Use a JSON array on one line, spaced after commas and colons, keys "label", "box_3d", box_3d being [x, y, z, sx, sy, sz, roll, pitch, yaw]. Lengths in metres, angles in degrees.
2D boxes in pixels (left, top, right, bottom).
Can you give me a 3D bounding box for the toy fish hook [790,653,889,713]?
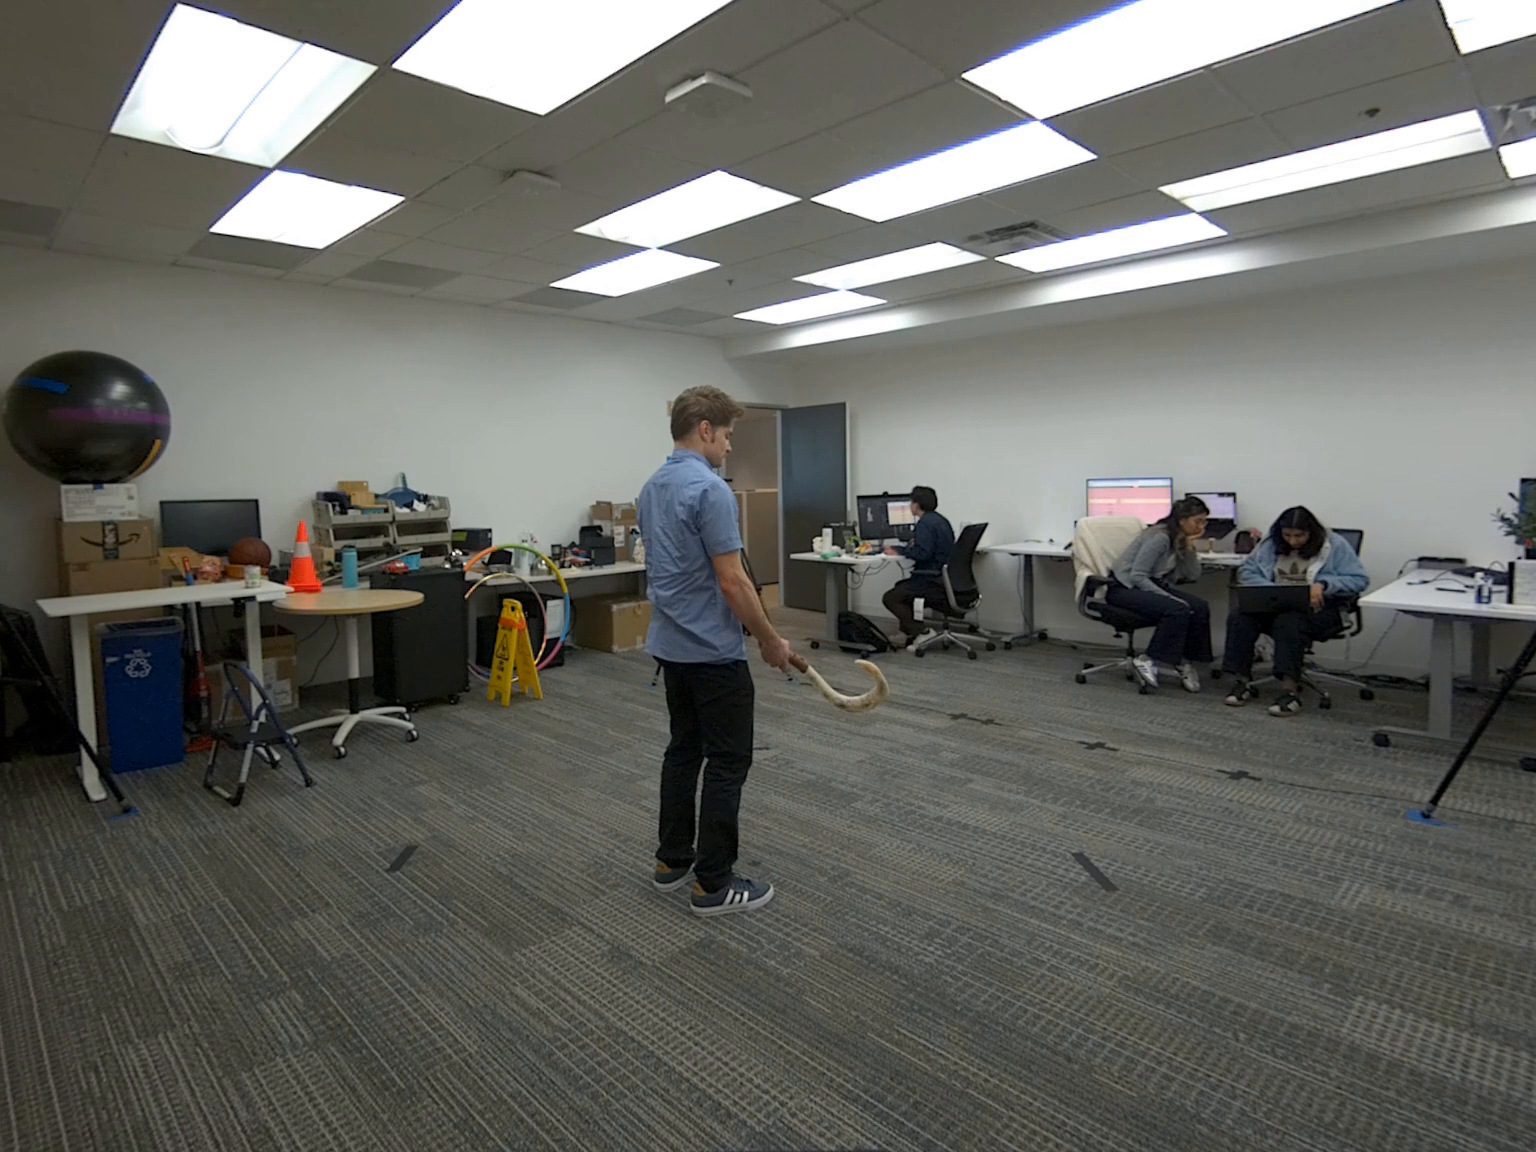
[{"label": "toy fish hook", "box_3d": [0.201, 0.279, 2.899, 0.494, 0.224, 0.049, 33, 25, -20]}]
